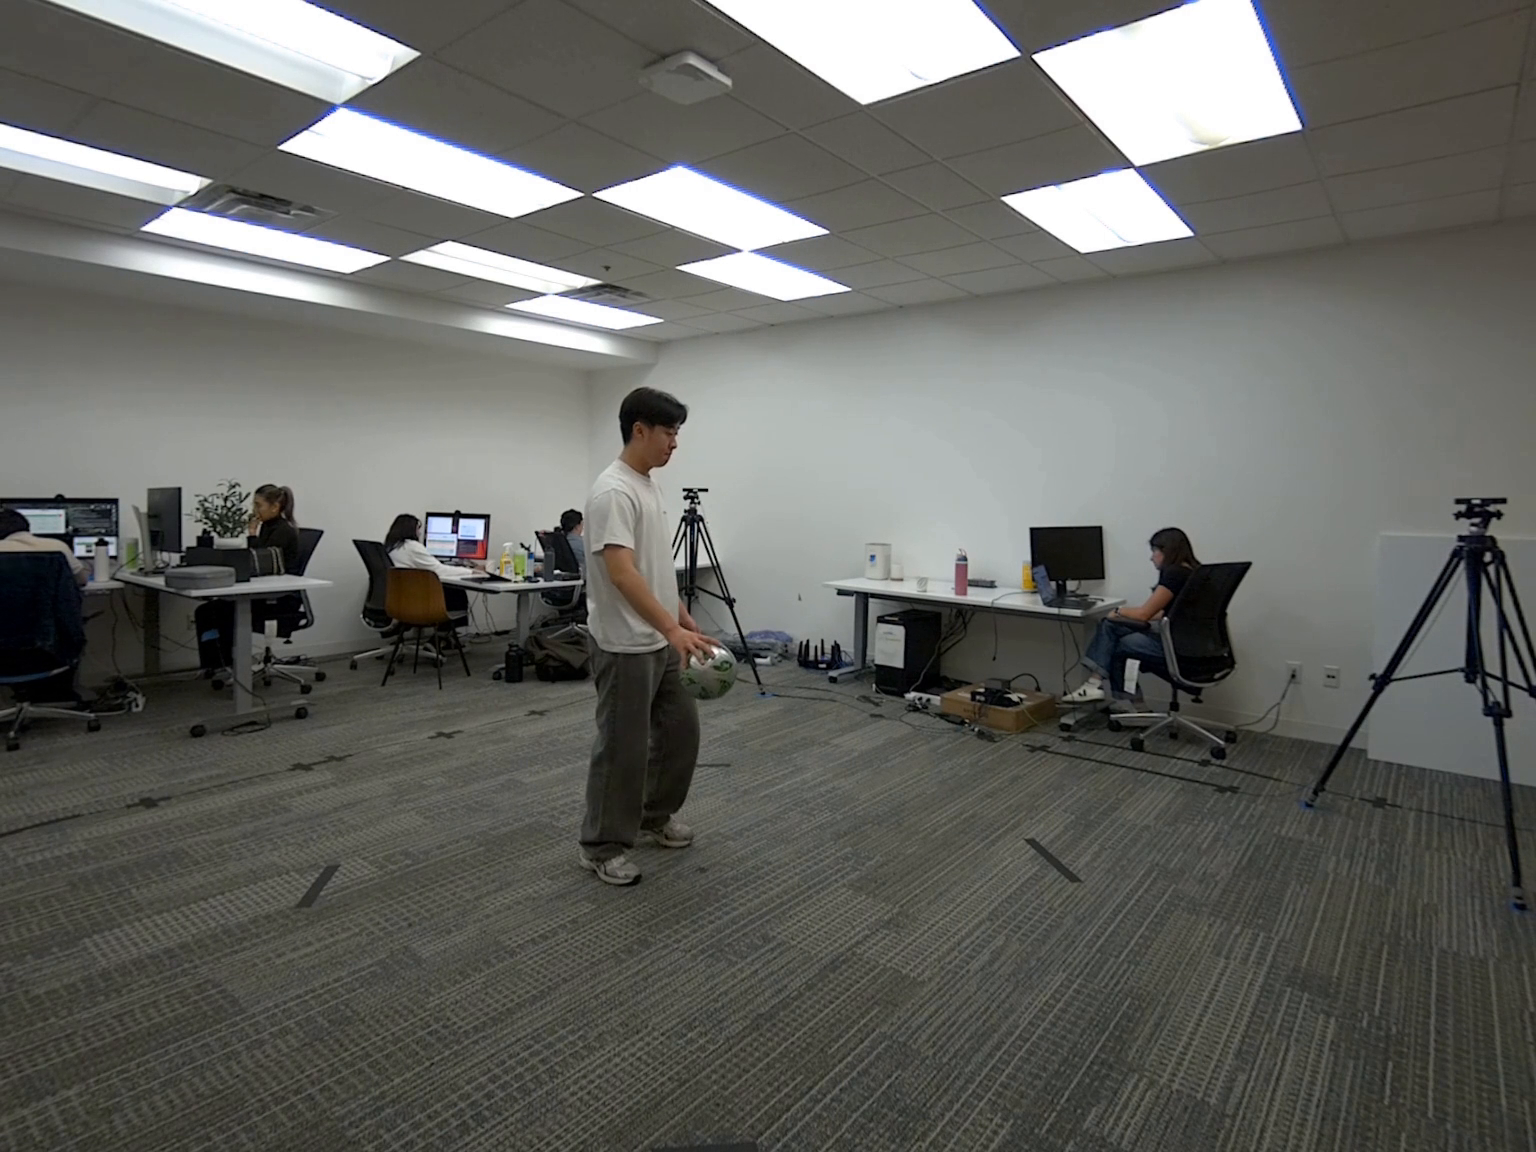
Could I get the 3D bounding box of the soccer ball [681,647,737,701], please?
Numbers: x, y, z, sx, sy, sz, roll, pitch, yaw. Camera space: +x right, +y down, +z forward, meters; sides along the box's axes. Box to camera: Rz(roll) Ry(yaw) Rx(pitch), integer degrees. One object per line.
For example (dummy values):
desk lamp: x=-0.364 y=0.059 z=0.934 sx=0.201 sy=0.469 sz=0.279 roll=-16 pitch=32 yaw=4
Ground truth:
soccer ball: x=-0.193 y=0.291 z=2.689 sx=0.187 sy=0.187 sz=0.188 roll=1 pitch=4 yaw=-2
